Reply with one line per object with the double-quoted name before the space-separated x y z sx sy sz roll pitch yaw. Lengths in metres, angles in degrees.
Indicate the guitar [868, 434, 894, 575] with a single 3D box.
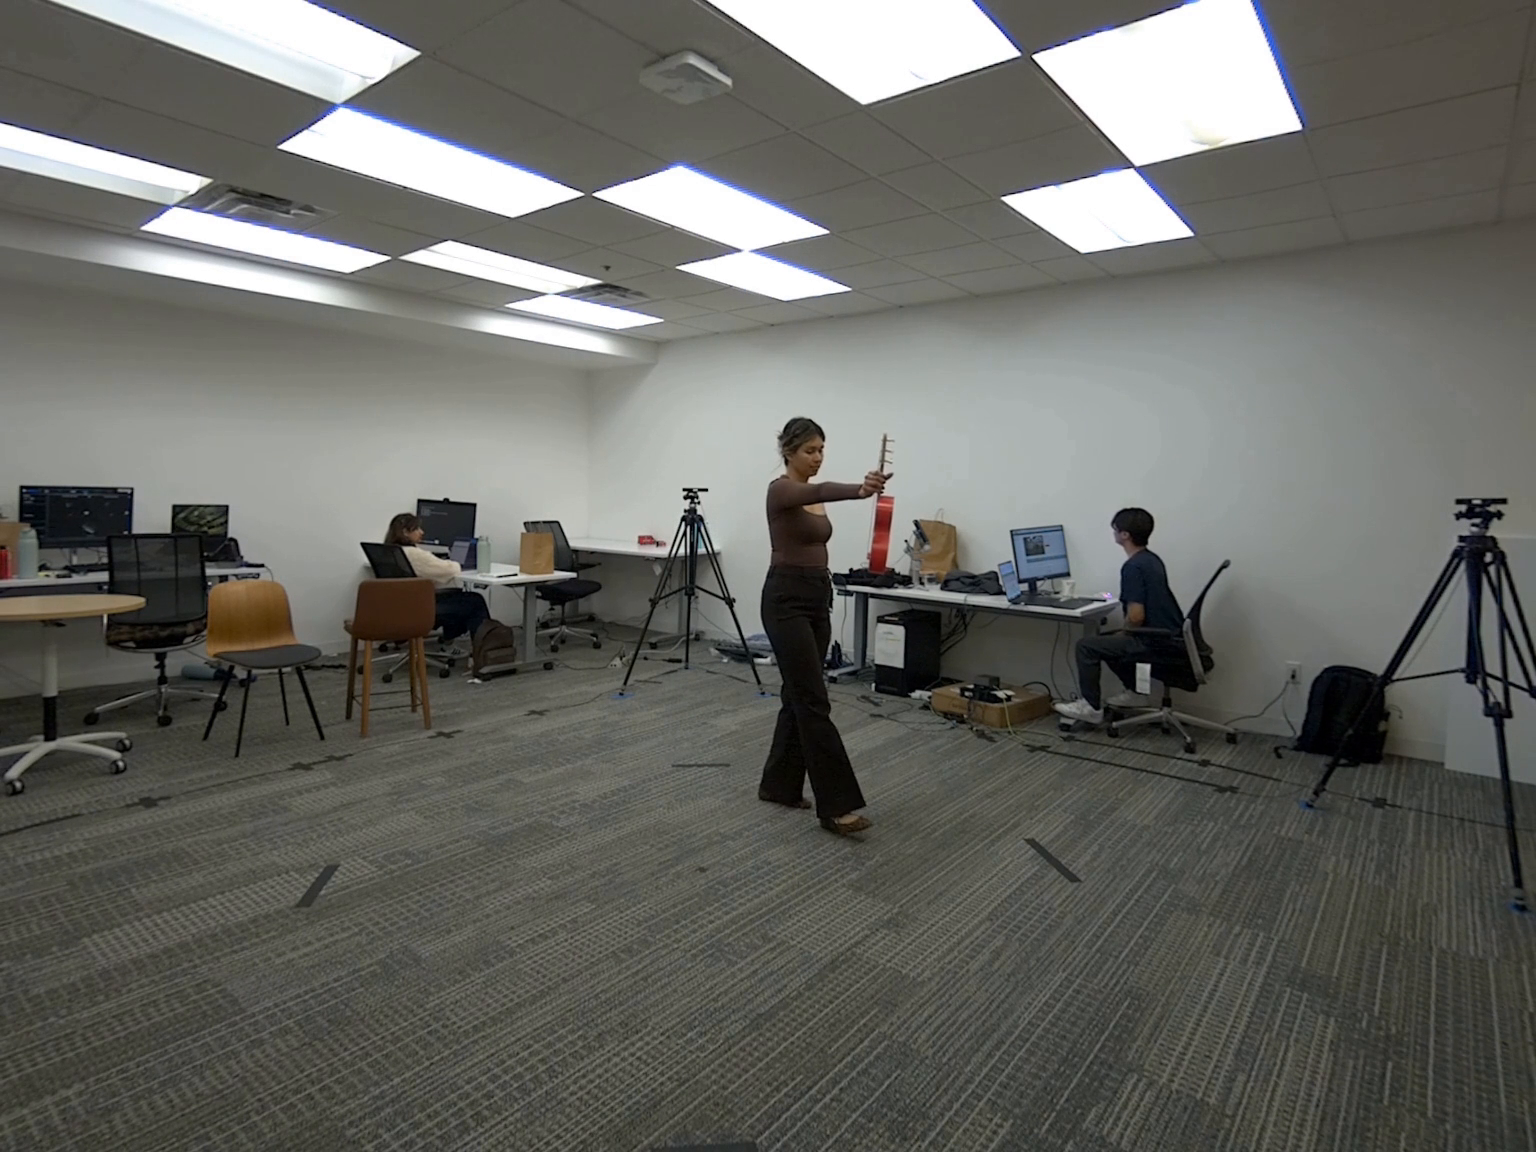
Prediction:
"guitar" 0.406 -0.257 3.008 0.071 0.492 0.194 9 14 4
